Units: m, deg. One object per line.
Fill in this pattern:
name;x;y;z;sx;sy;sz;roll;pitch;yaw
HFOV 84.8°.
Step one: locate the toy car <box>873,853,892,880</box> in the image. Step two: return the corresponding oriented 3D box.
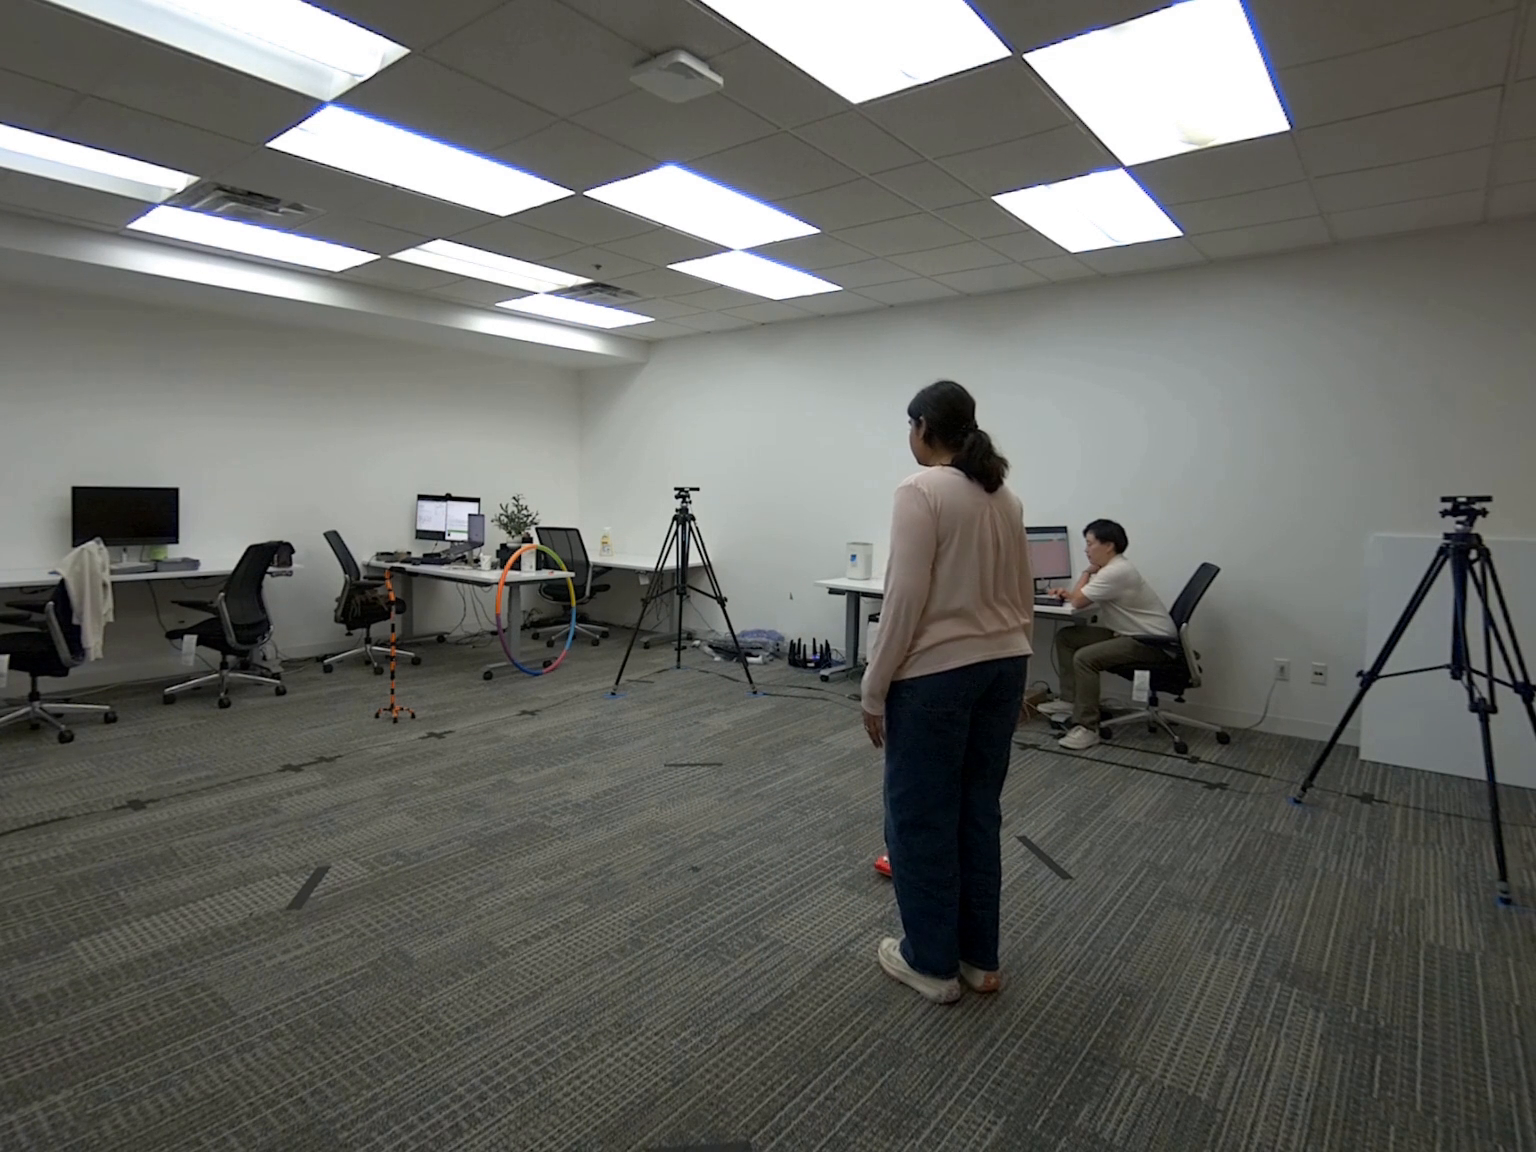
toy car;0.481;1.043;3.122;0.135;0.083;0.245;6;-4;43
